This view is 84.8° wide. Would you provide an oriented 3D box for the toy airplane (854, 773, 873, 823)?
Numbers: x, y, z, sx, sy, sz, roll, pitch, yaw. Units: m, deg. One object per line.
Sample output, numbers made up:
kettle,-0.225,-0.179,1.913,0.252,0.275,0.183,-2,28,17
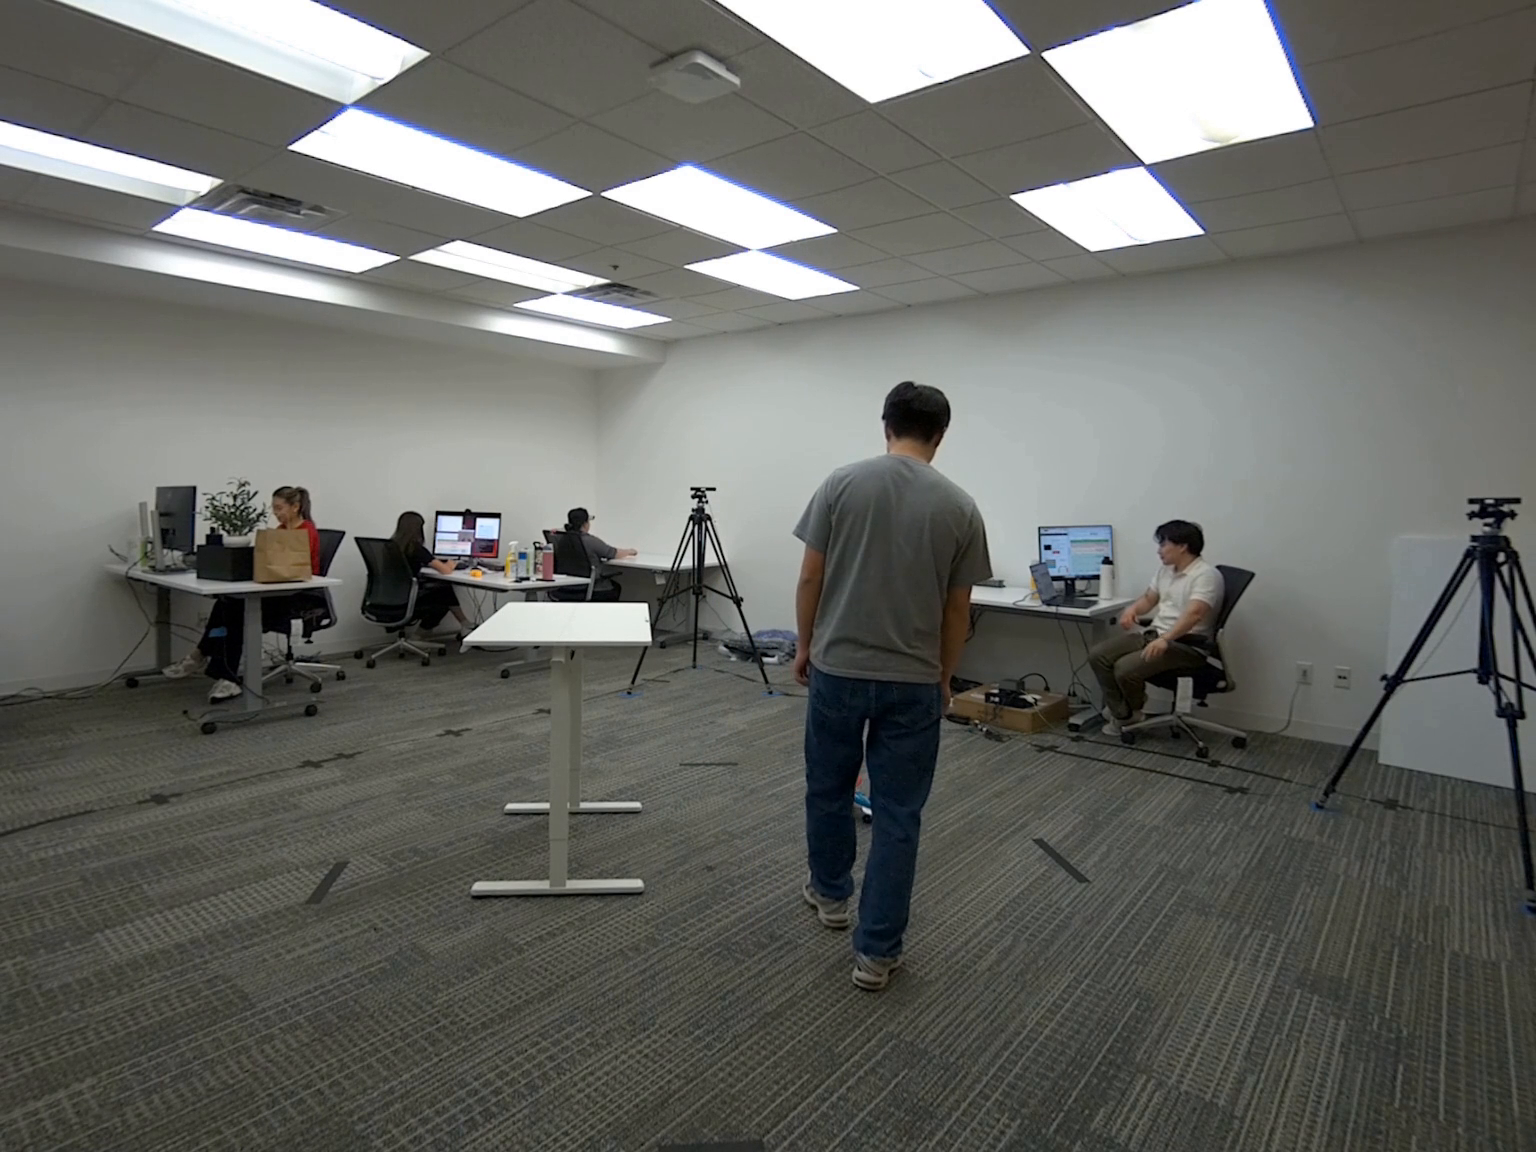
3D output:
toy airplane,0.348,0.942,3.653,0.261,0.156,0.251,0,5,5
